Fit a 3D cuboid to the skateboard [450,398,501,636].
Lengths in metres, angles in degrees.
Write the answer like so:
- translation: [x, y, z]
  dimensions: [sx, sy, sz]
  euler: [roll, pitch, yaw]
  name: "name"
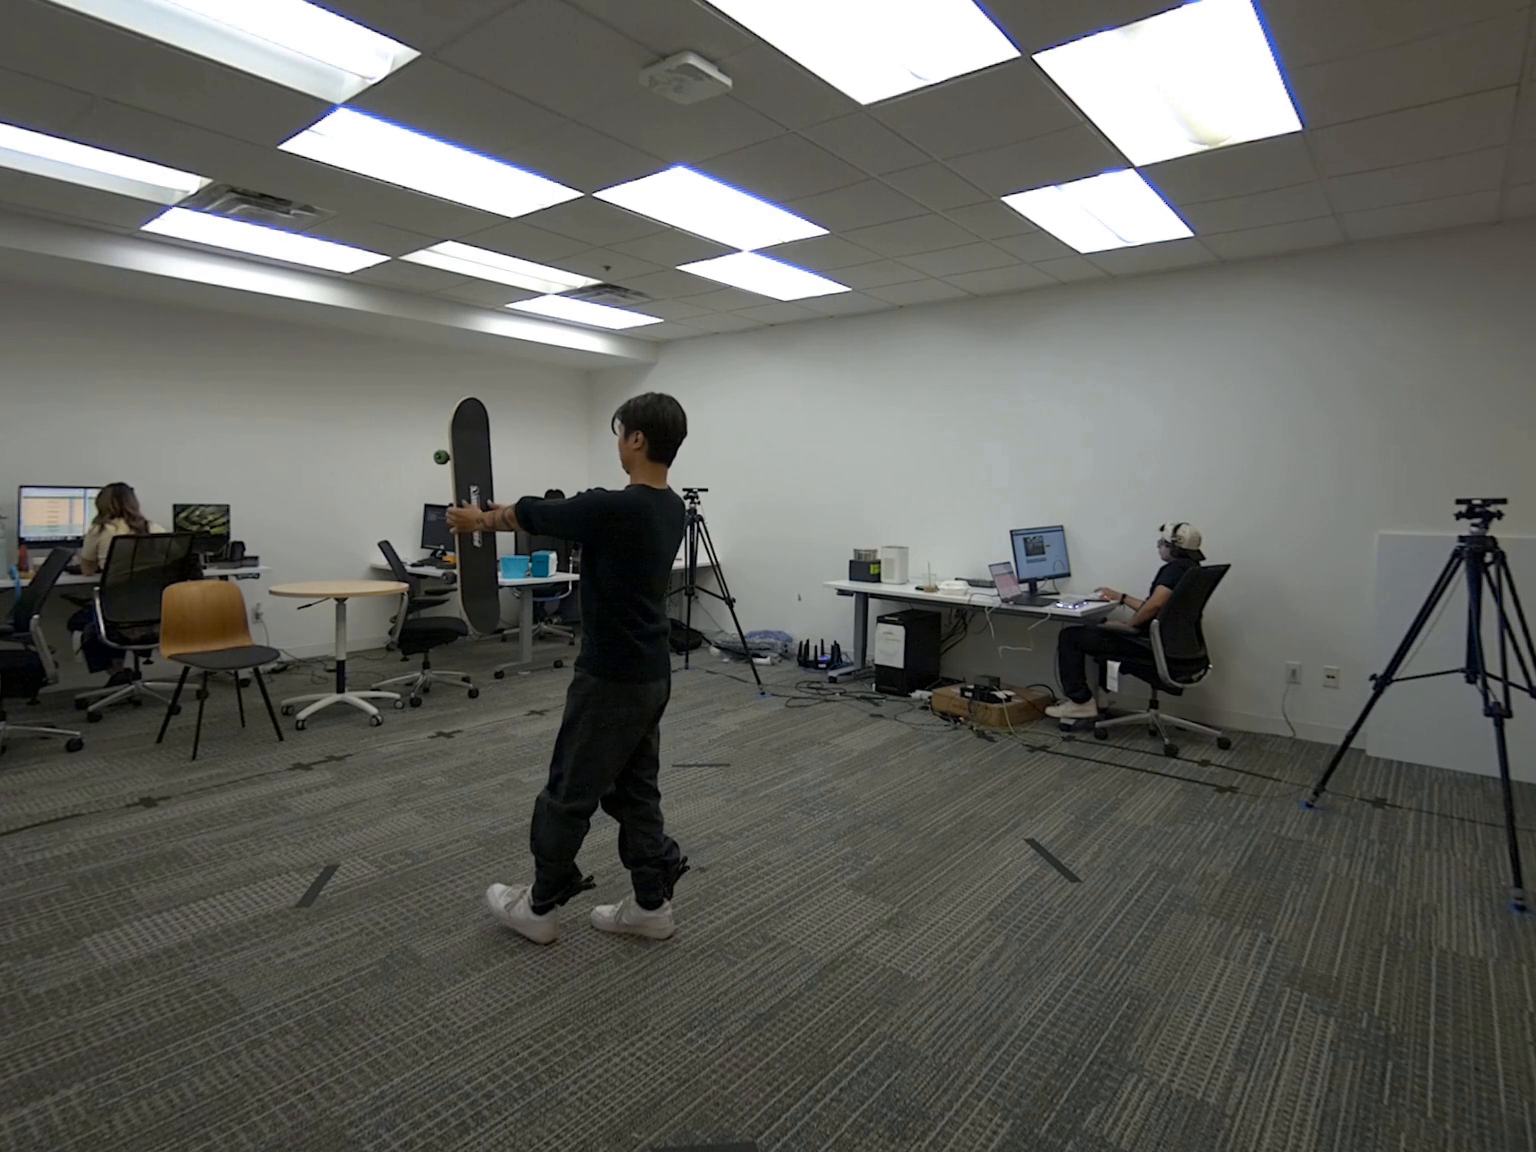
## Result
- translation: [-1.018, -0.199, 2.846]
  dimensions: [0.113, 0.786, 0.189]
  euler: [-4, 0, 23]
  name: "skateboard"
